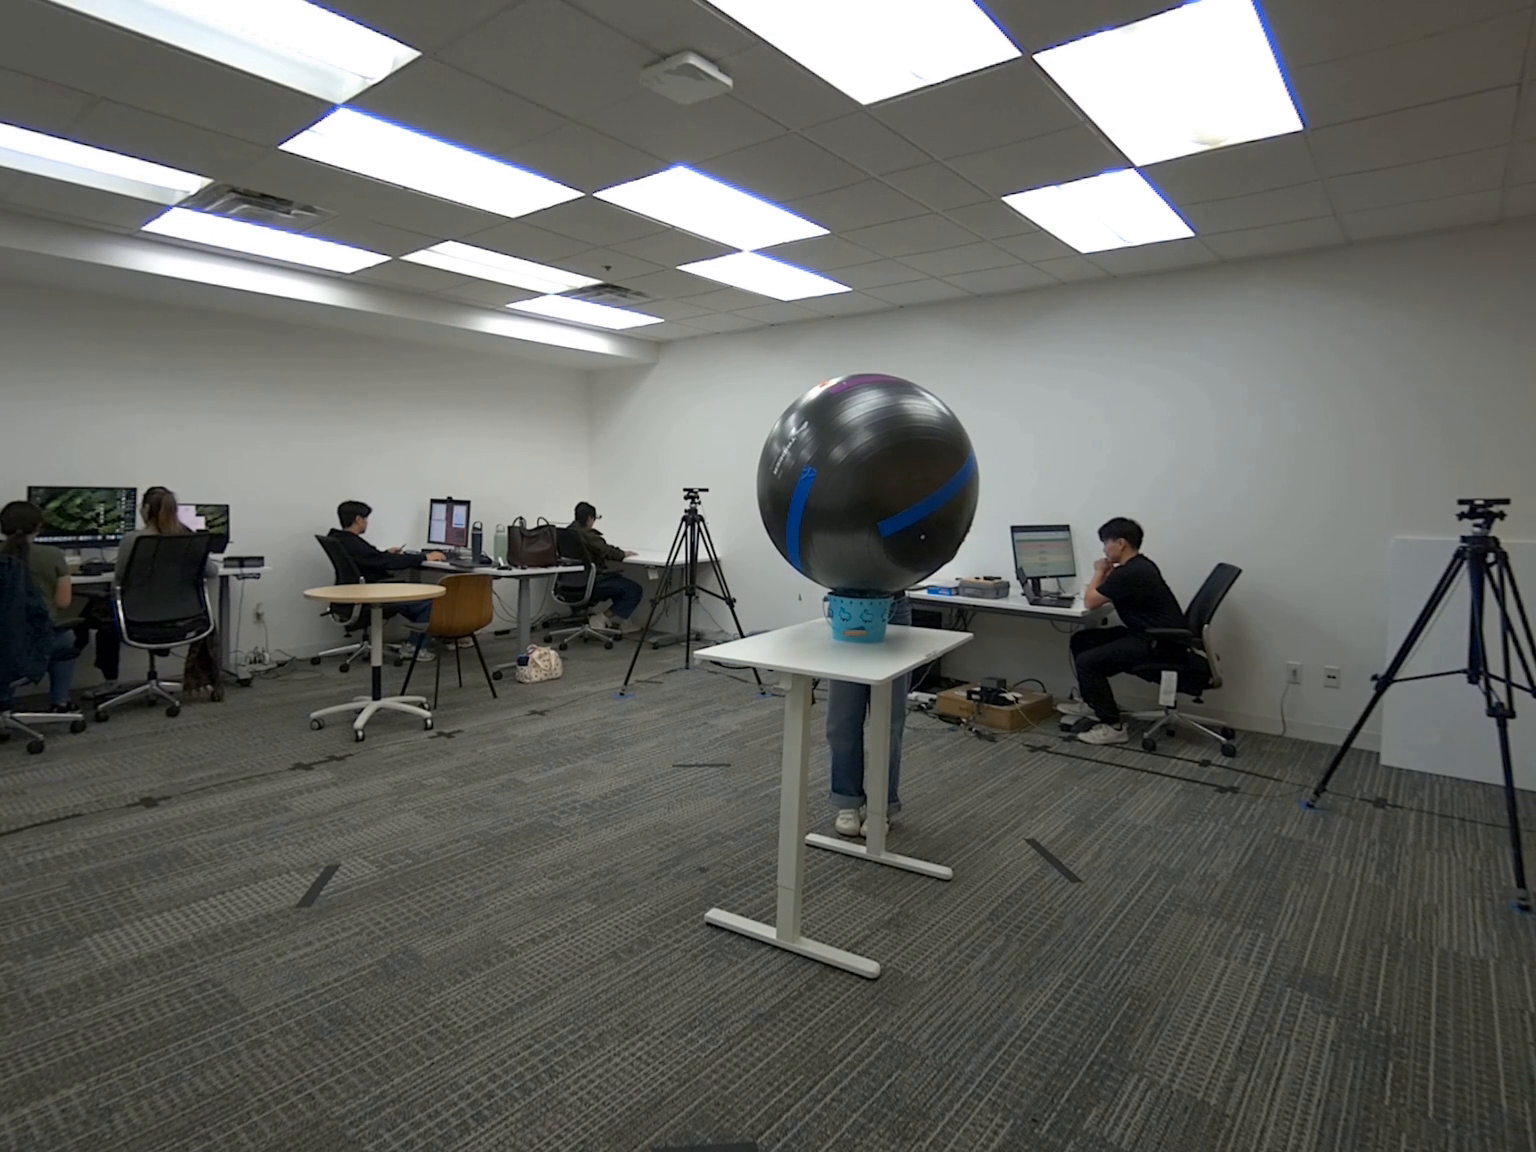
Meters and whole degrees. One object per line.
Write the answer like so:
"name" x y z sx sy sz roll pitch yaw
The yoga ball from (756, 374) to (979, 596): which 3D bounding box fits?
"yoga ball" 0.336 -0.310 2.946 0.757 0.756 0.762 1 4 -2
